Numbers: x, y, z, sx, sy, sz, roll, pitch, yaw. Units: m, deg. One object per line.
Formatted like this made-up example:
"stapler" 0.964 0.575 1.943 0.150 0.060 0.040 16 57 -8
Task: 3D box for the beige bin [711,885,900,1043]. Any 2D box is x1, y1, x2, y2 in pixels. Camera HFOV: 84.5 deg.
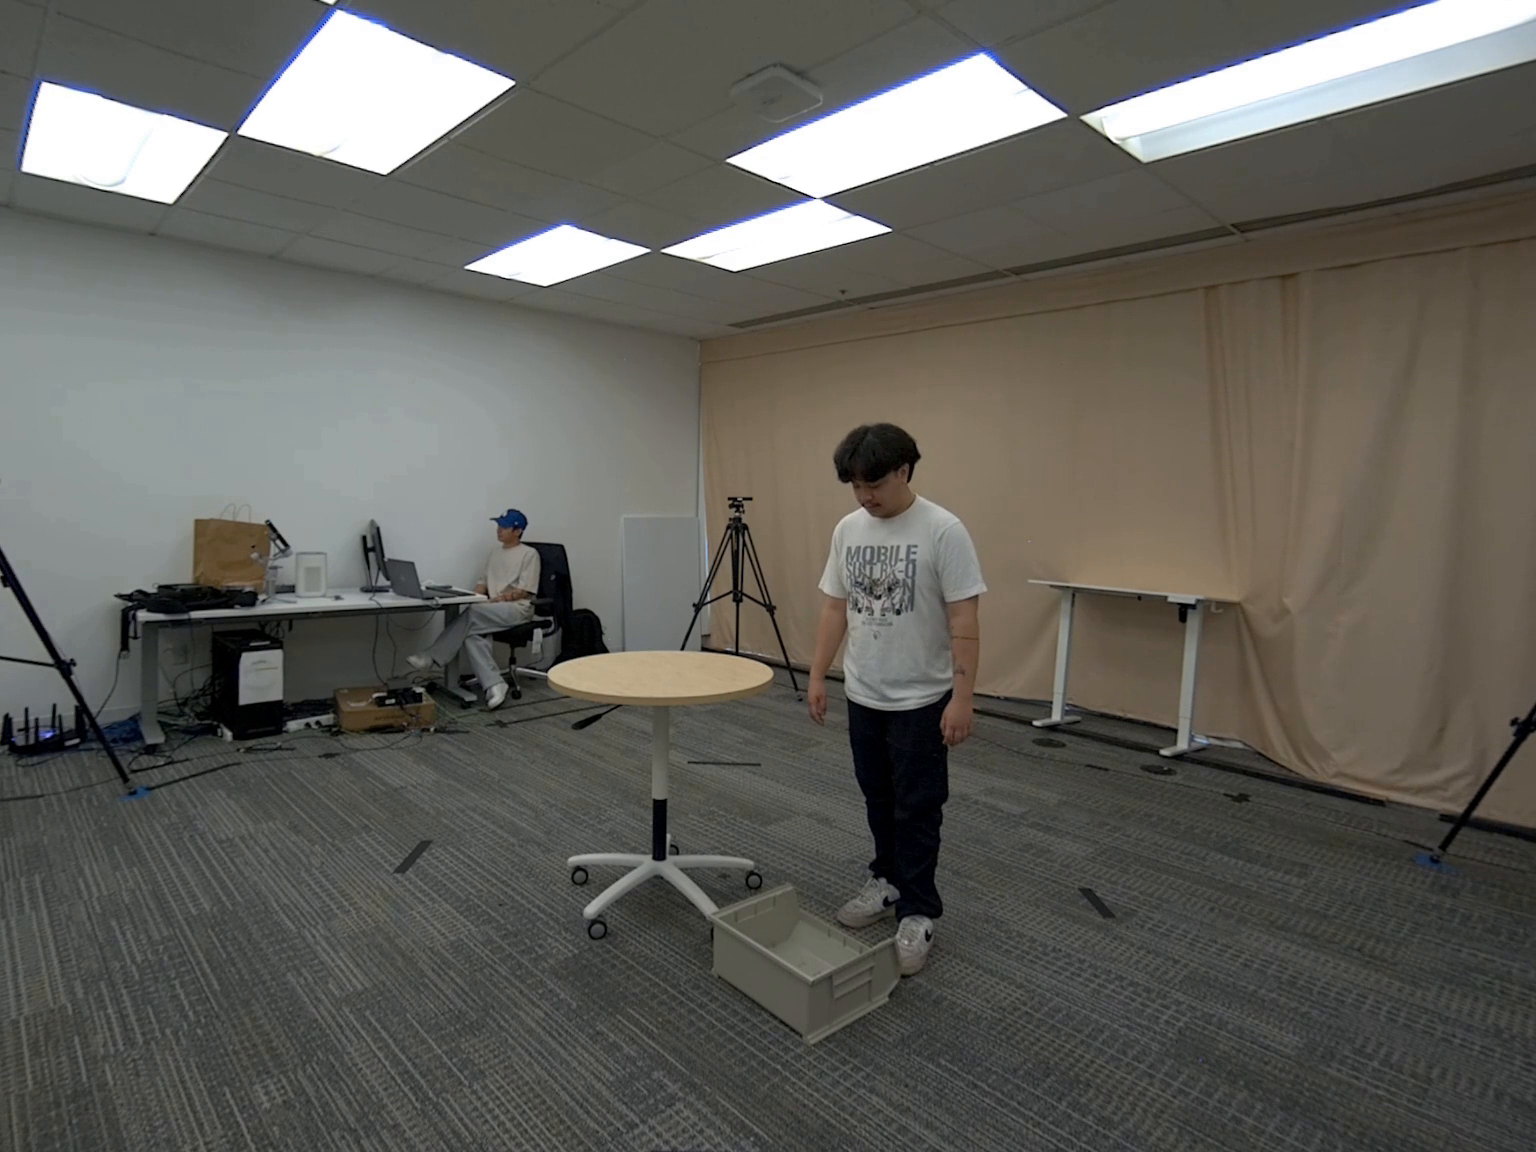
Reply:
"beige bin" 0.096 1.089 2.413 0.369 0.188 0.433 -4 8 -42
